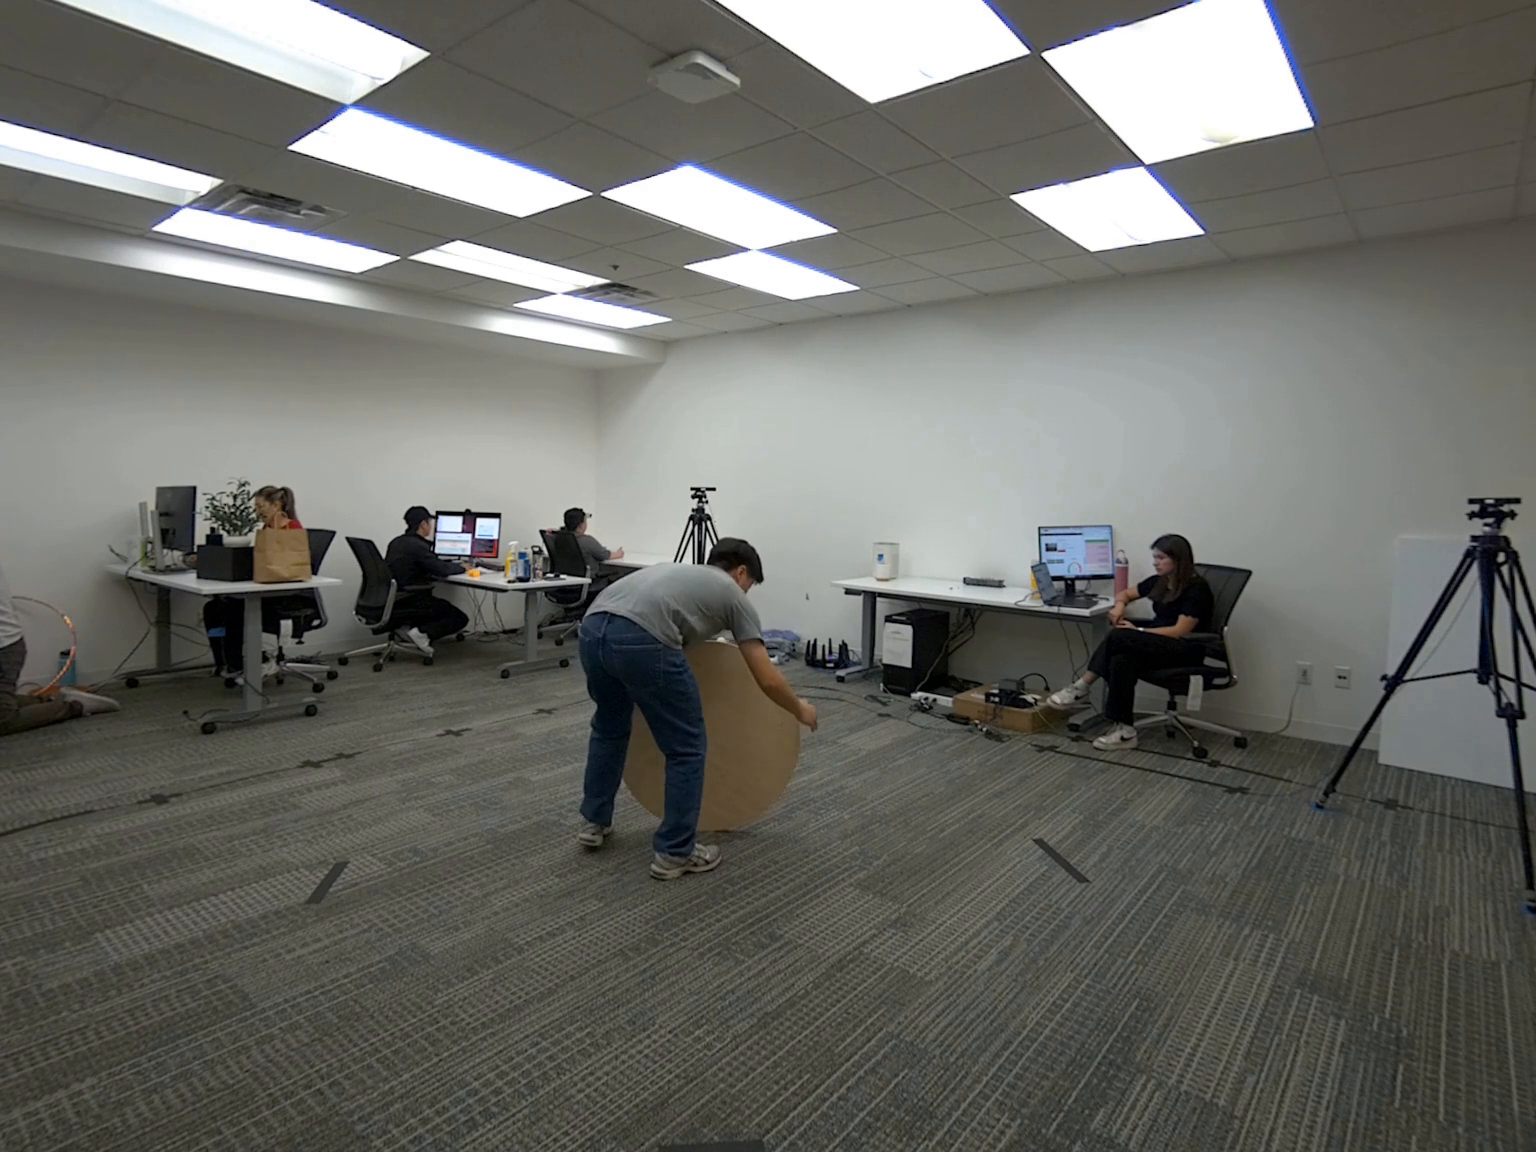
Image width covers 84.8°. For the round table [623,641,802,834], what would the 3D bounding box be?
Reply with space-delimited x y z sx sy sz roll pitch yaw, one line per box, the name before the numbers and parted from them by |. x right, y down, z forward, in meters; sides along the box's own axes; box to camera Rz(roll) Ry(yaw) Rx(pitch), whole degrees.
round table | -0.277 0.638 3.859 0.764 0.765 0.794 1 0 -1
